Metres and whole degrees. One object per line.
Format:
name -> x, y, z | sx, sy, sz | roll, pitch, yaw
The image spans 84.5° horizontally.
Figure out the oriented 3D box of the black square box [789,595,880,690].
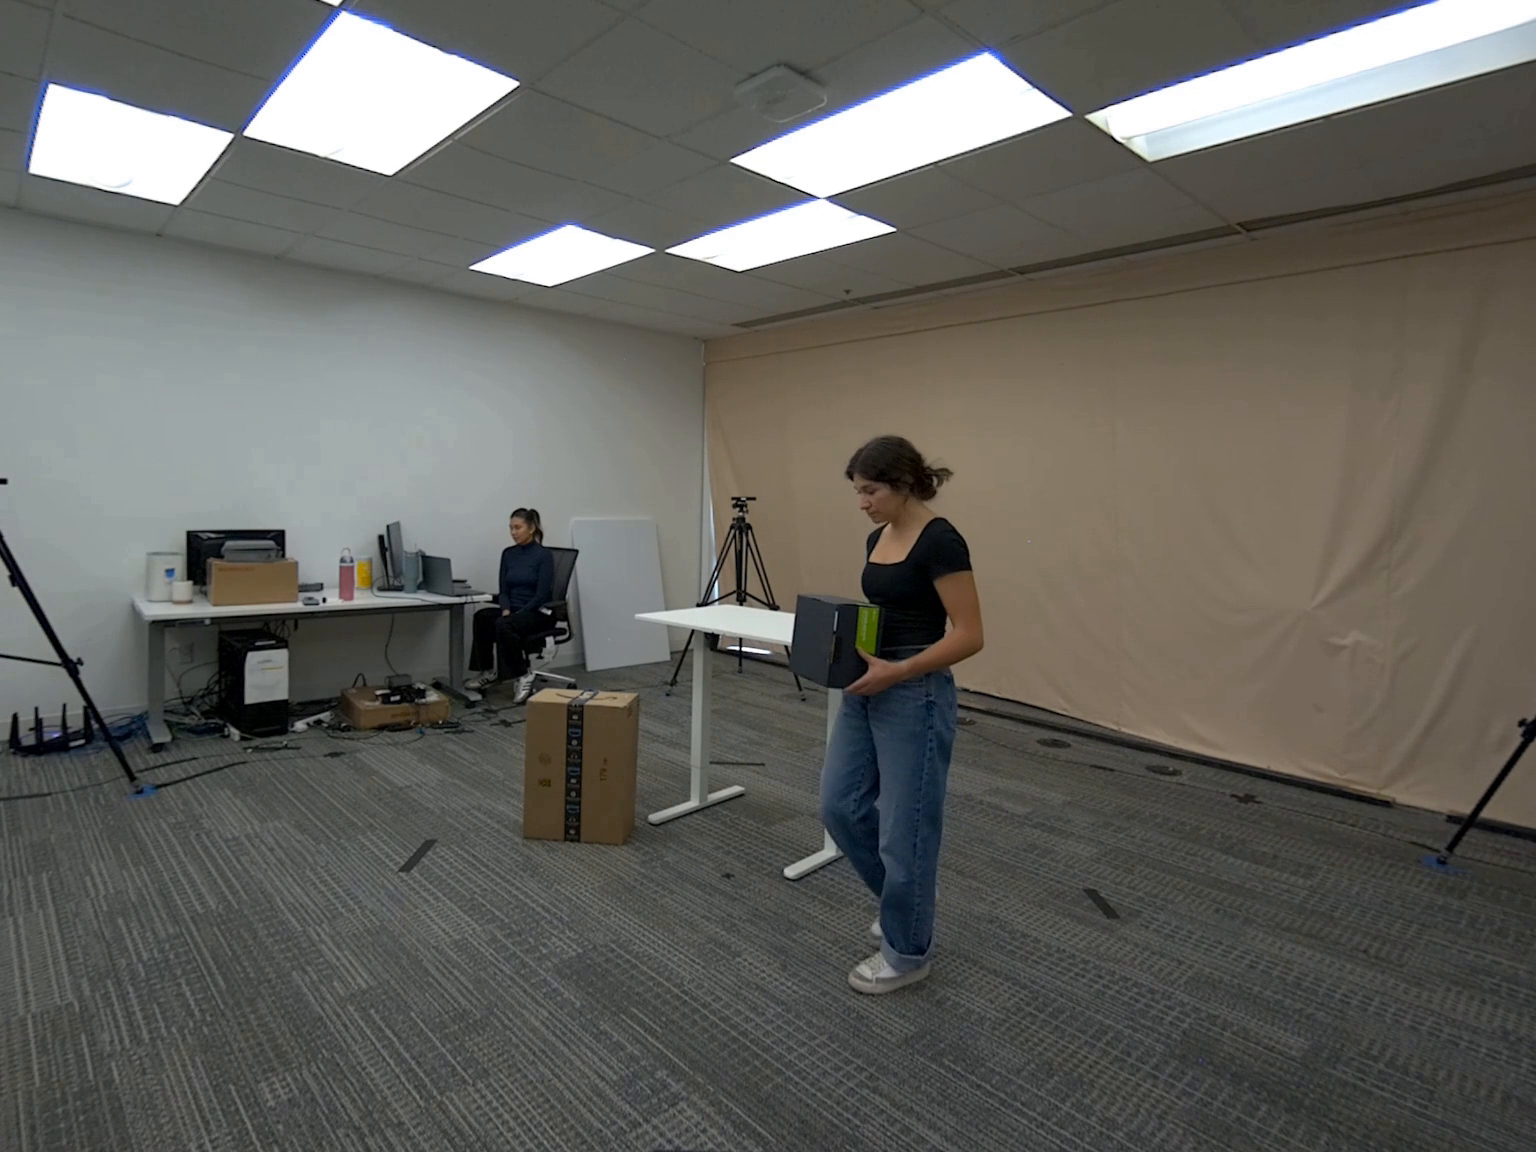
black square box -> 0.196, 0.179, 2.340 | 0.153, 0.227, 0.222 | 4, 3, -28
